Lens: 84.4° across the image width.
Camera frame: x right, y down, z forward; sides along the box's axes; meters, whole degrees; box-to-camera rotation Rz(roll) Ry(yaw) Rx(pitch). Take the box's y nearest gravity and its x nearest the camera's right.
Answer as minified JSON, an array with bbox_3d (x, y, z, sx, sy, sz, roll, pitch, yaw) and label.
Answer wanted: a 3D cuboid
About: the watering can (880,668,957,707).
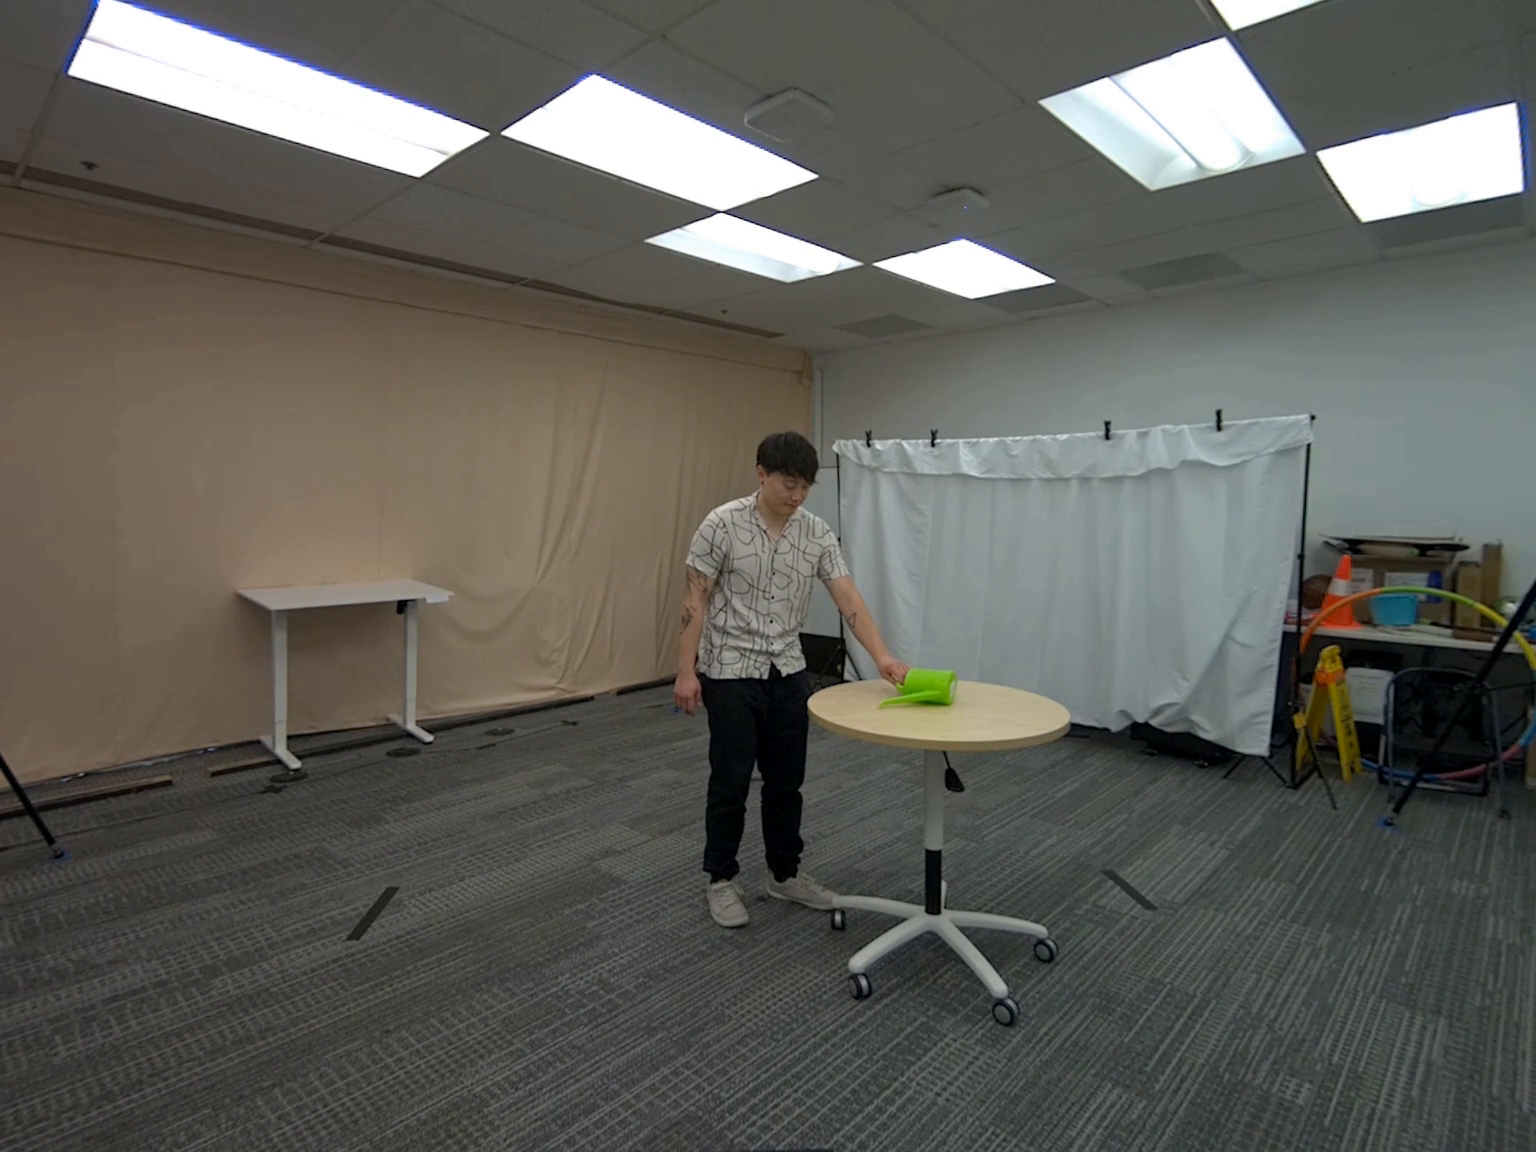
[{"bbox_3d":[0.476,0.362,2.587,0.182,0.096,0.276,1,29,28],"label":"watering can"}]
